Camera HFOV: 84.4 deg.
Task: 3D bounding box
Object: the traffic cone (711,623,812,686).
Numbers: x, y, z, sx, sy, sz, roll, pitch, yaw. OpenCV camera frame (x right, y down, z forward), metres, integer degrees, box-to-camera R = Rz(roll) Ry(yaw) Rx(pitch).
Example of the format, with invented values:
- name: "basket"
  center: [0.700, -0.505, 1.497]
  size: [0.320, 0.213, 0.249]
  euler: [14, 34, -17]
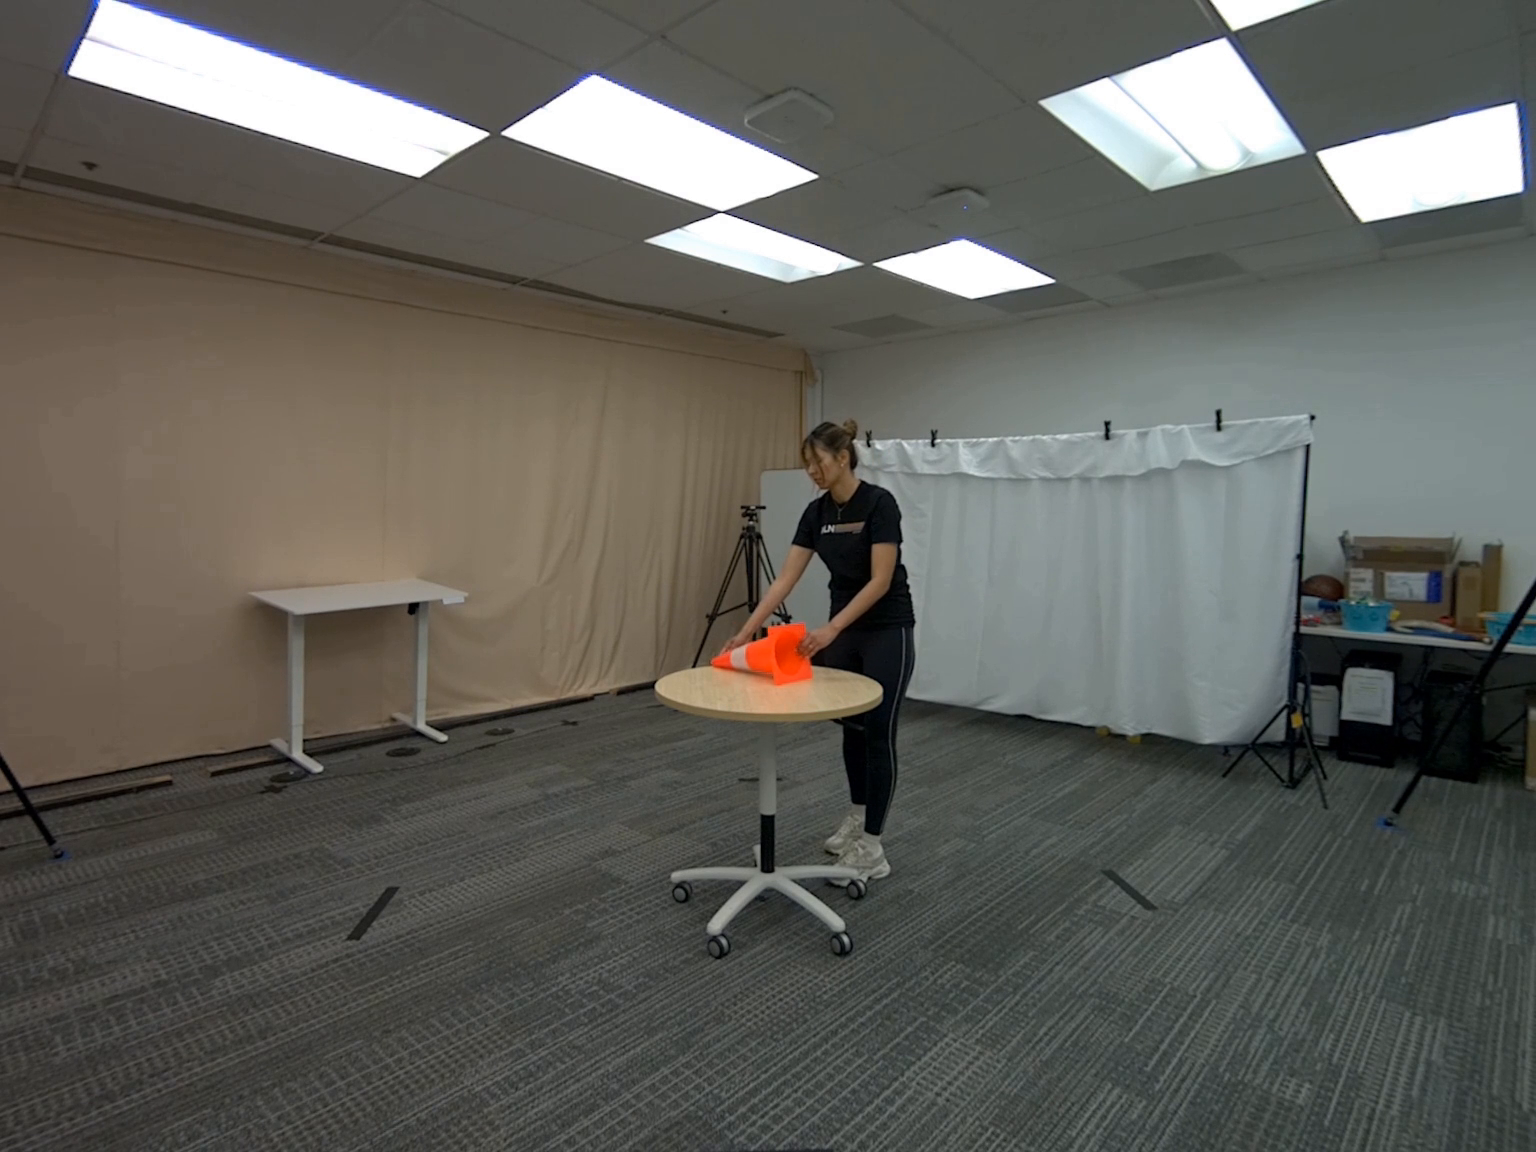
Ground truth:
- name: "traffic cone"
  center: [-0.058, 0.300, 3.044]
  size: [0.394, 0.206, 0.197]
  euler: [-14, -11, 42]
